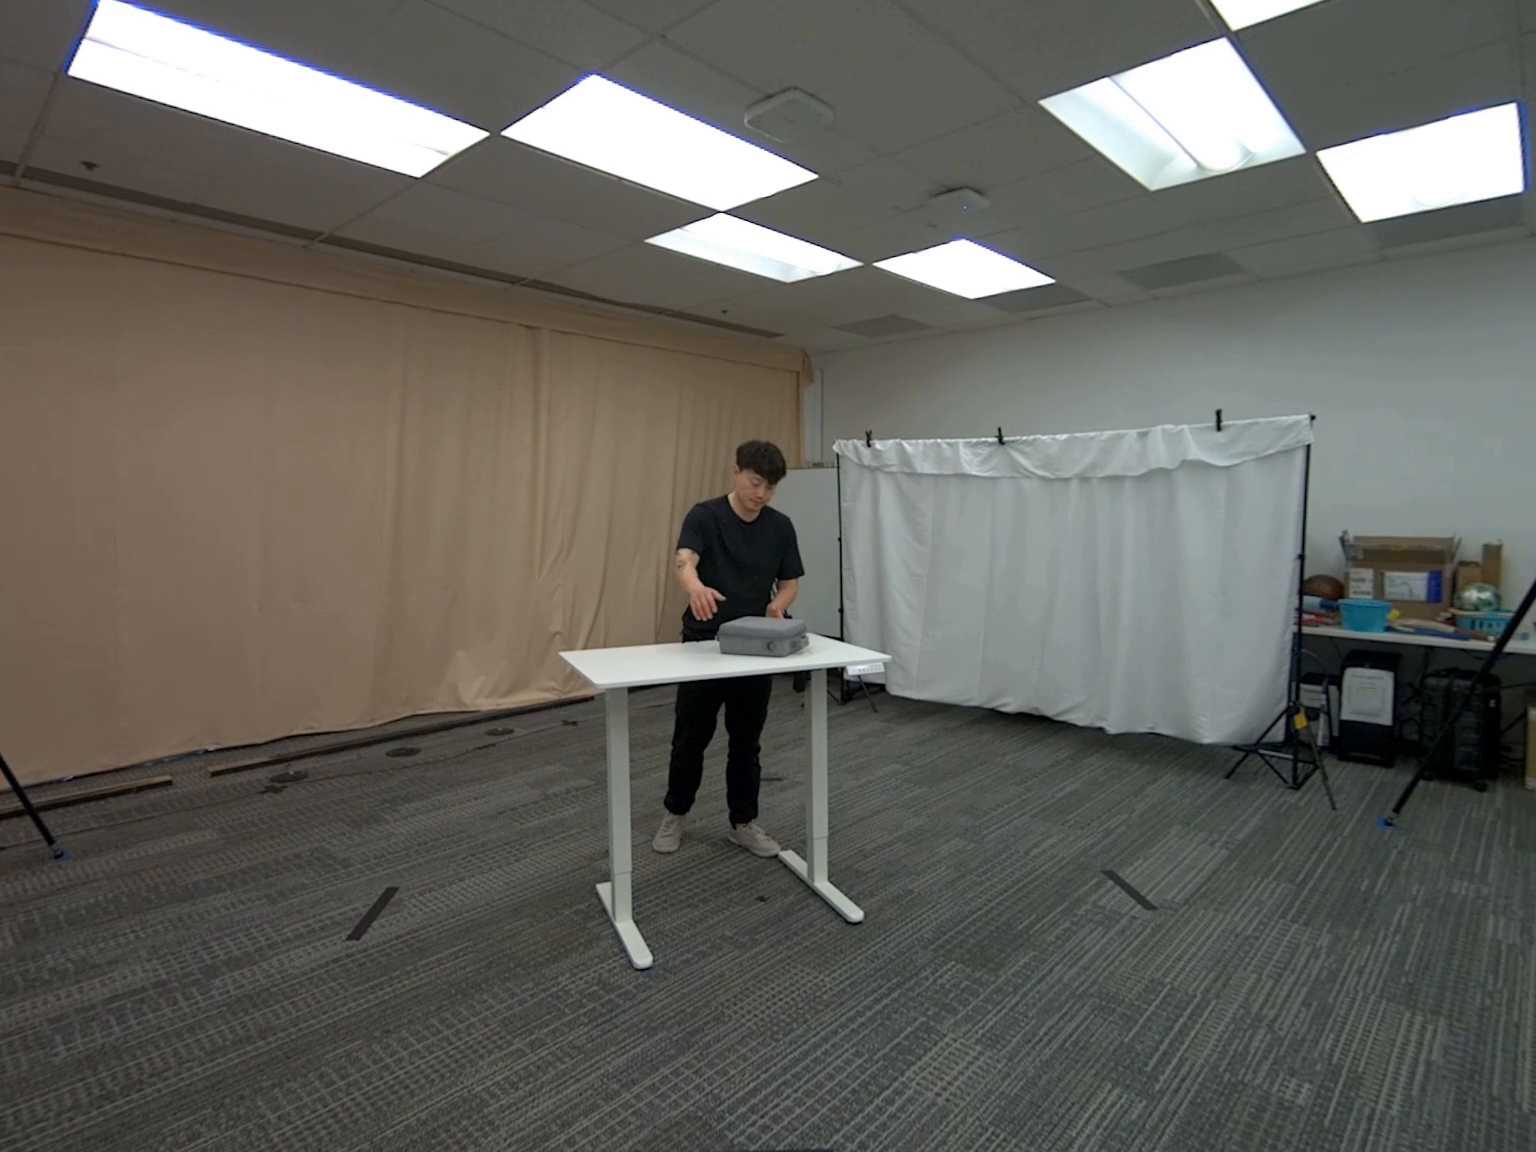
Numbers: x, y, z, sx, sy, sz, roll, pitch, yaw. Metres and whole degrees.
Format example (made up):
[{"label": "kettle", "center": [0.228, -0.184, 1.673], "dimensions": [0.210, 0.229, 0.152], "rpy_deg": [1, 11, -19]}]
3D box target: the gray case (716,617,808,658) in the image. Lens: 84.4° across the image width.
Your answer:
[{"label": "gray case", "center": [-0.009, 0.209, 2.958], "dimensions": [0.267, 0.104, 0.251], "rpy_deg": [2, 4, 23]}]
